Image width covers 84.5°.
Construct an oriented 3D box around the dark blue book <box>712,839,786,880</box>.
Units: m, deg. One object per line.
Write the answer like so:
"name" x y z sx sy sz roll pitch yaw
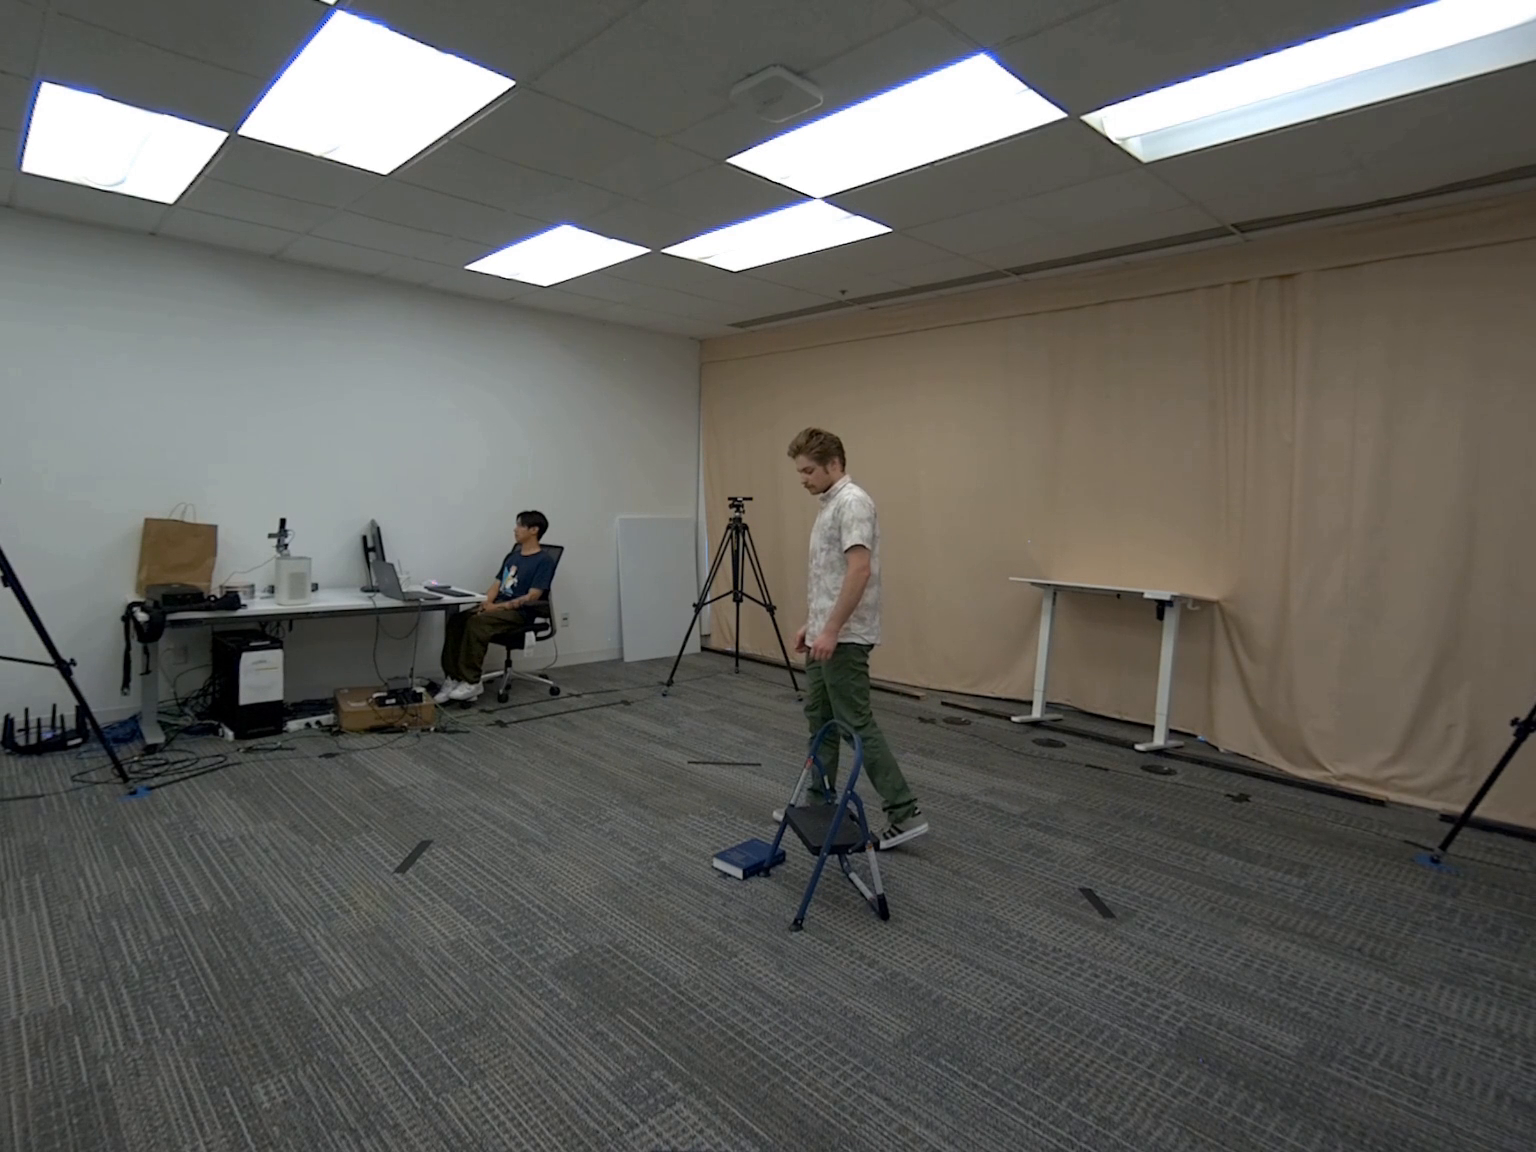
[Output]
"dark blue book" -0.076 1.073 3.207 0.167 0.045 0.239 6 7 42
